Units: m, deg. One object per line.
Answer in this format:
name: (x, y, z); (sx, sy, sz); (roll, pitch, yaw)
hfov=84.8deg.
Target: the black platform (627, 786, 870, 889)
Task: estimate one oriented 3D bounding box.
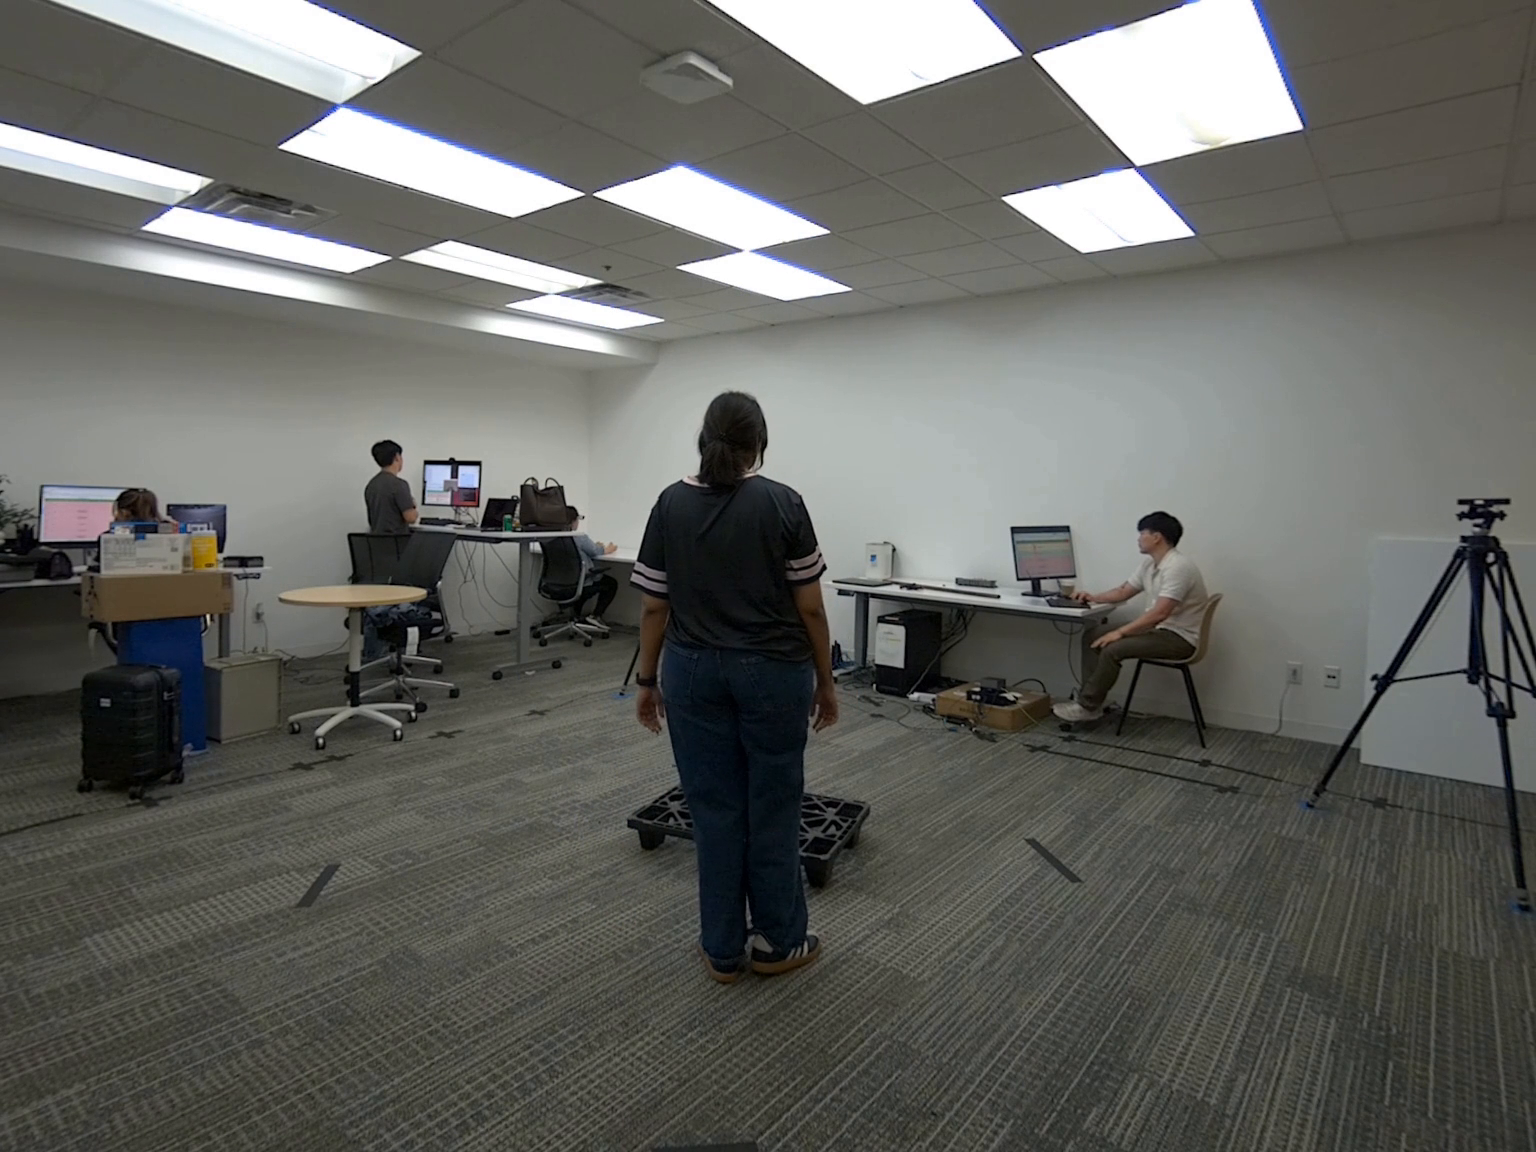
black platform: (-0.070, 0.982, 3.331); (0.826, 0.143, 0.593); (3, 6, 23)
